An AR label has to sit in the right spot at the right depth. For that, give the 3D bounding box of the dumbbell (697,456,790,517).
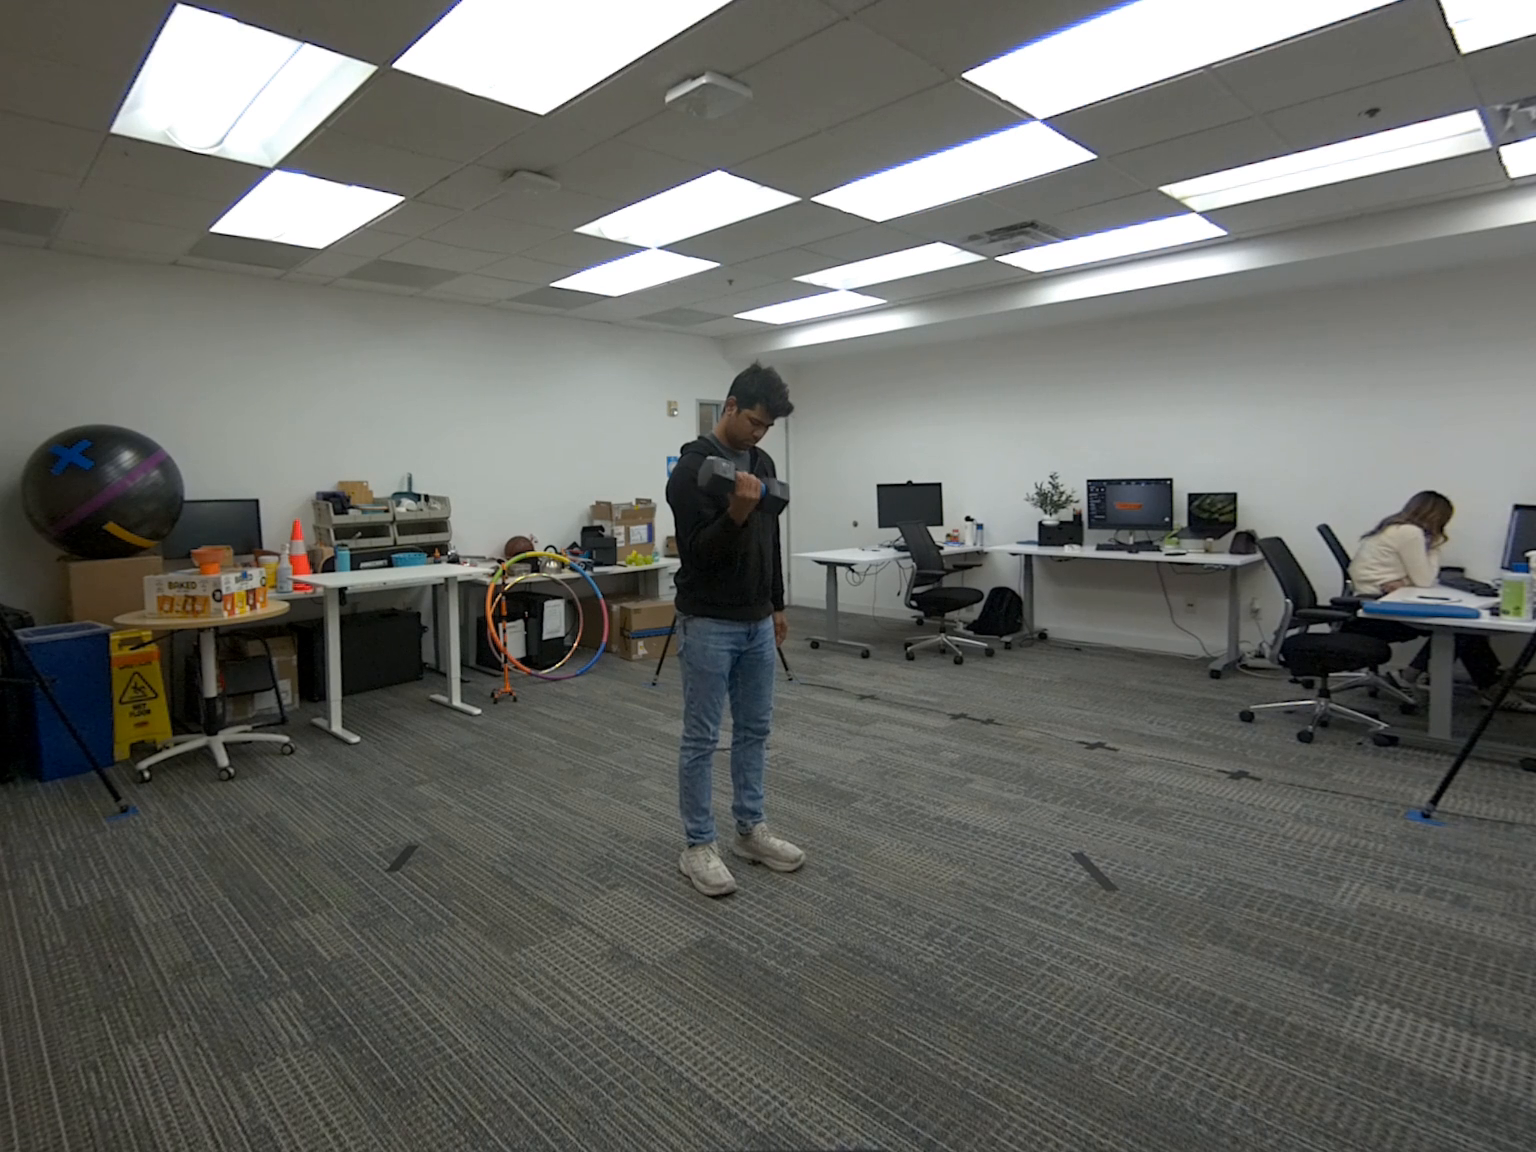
[{"bbox_3d":[-0.081,-0.265,2.678,0.284,0.122,0.113,19,30,-32],"label":"dumbbell"}]
